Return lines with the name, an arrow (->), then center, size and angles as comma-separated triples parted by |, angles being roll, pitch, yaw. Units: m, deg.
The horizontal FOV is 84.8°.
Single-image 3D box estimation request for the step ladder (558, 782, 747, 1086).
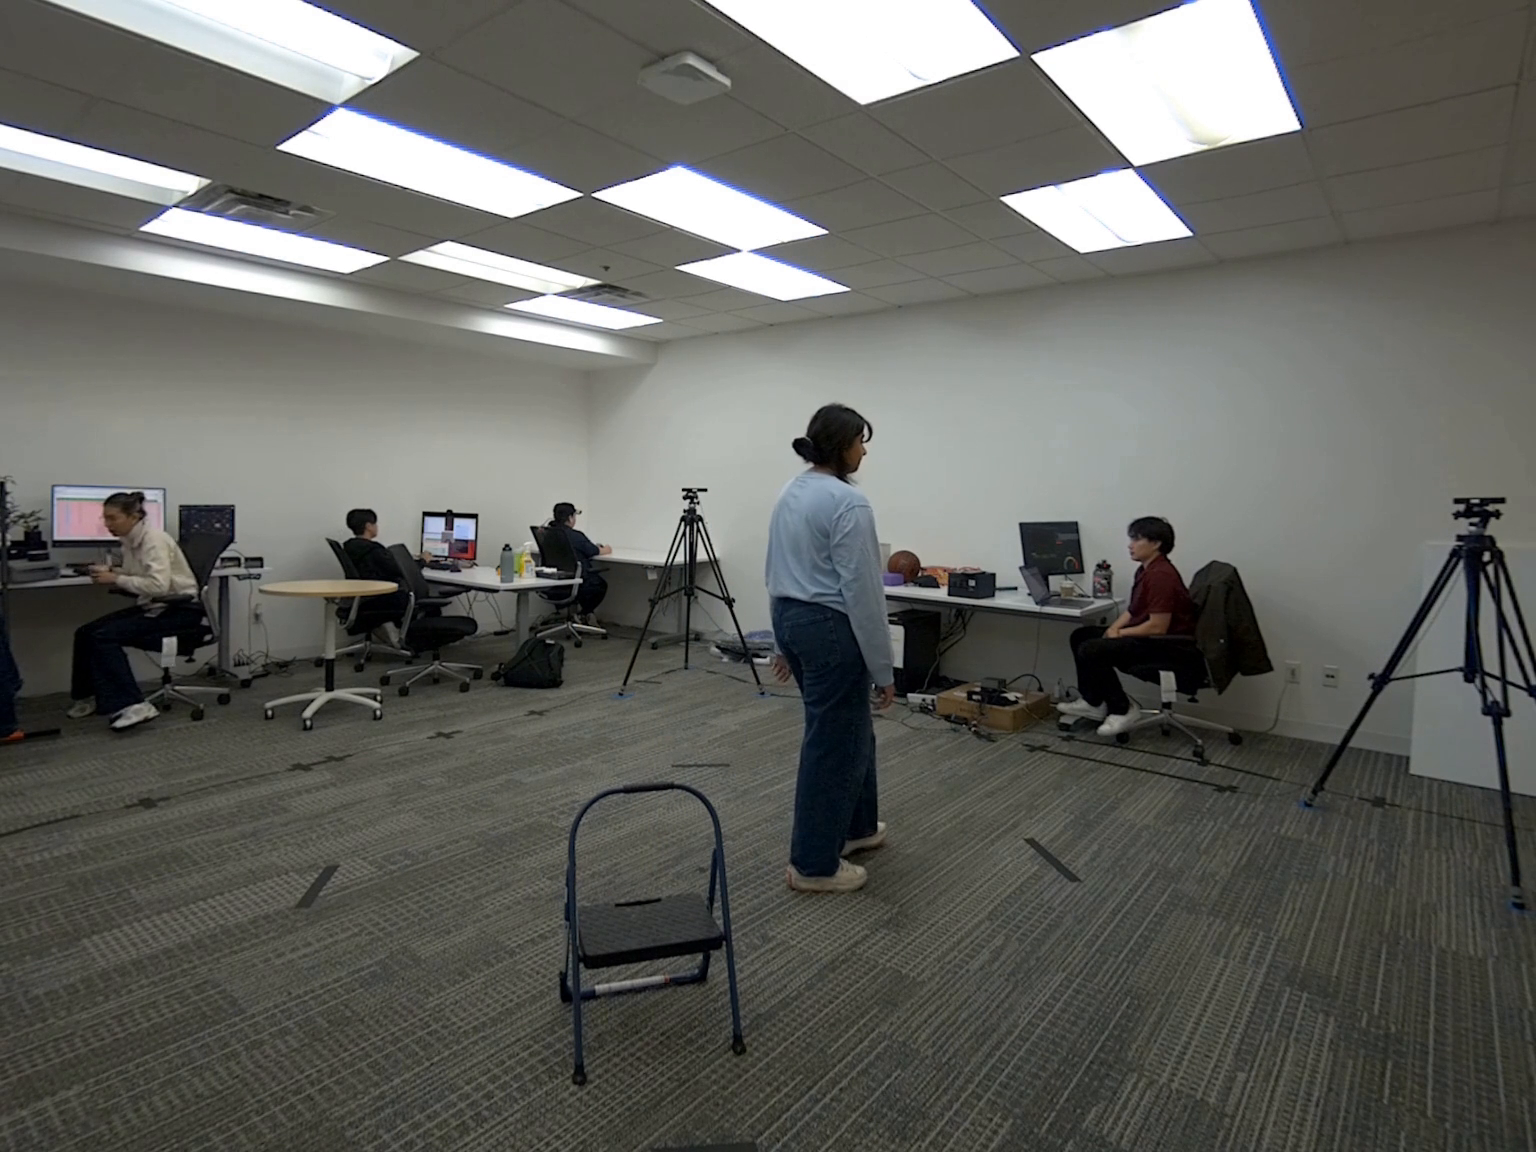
step ladder -> -0.312, 0.859, 2.188 | 0.422, 0.604, 0.357 | 0, 4, -19
